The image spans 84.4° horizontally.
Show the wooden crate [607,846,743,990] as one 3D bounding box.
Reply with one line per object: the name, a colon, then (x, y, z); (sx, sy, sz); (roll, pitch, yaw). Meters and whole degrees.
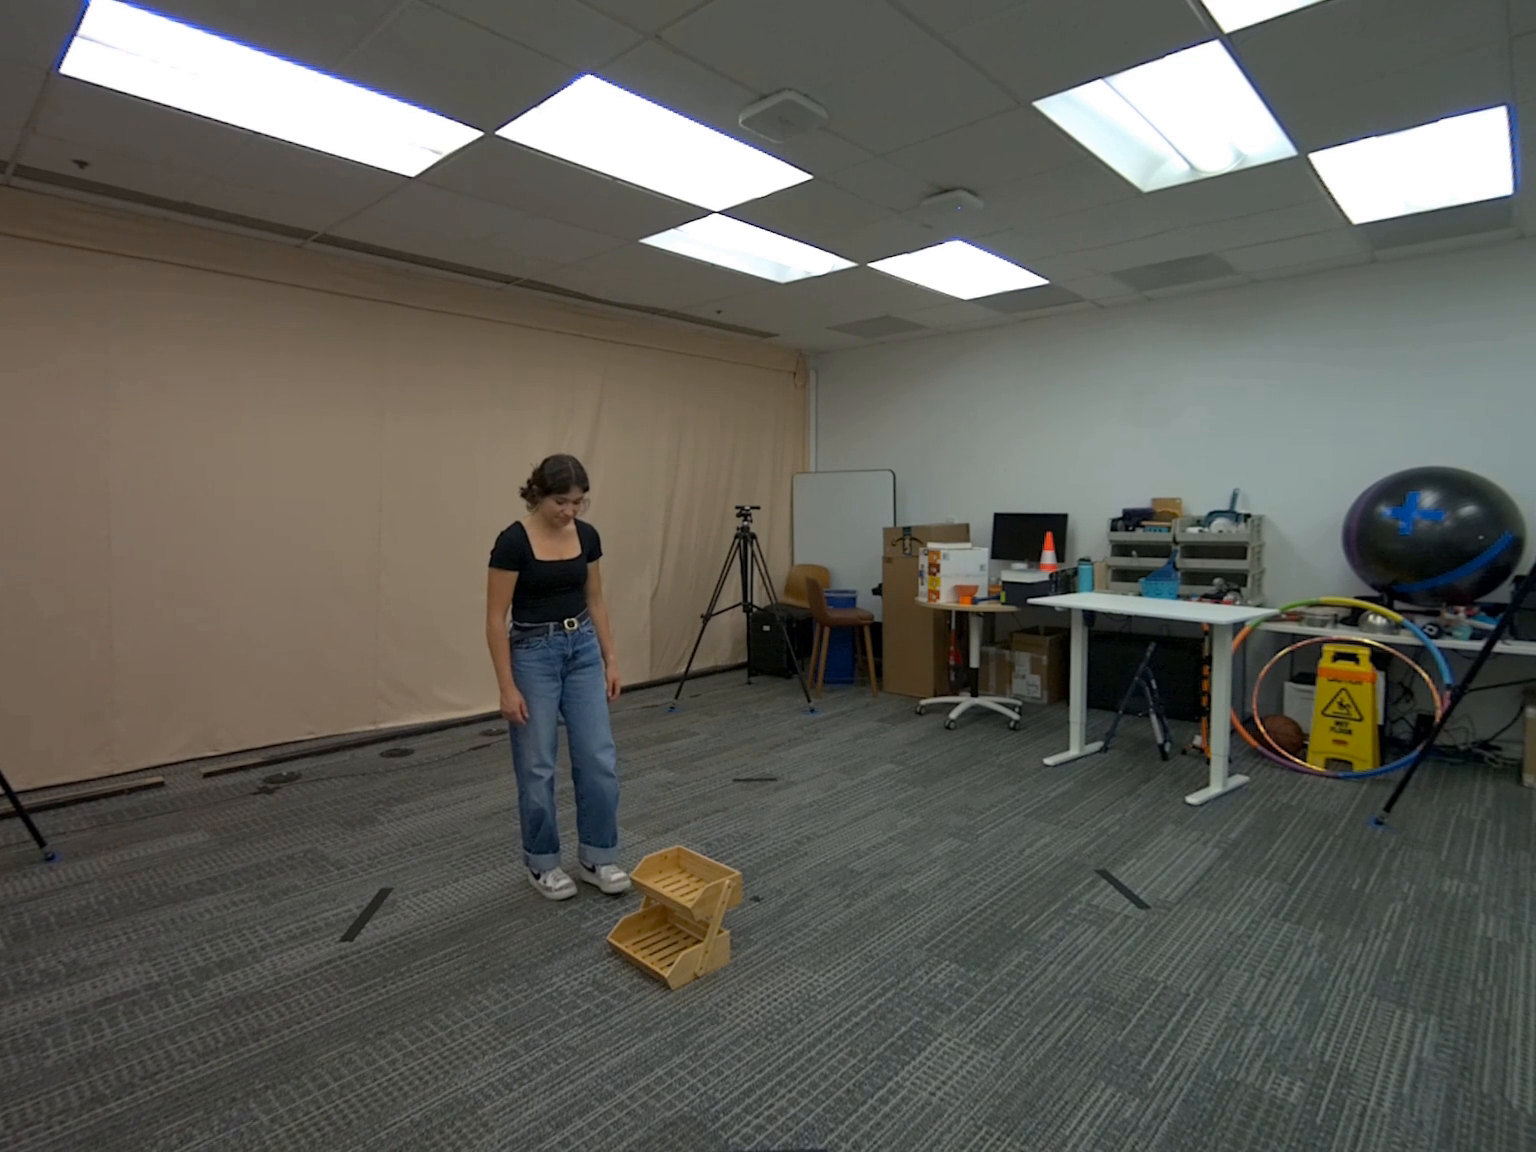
wooden crate: (-0.292, 1.044, 2.609); (0.293, 0.273, 0.335); (-3, 5, -44)
